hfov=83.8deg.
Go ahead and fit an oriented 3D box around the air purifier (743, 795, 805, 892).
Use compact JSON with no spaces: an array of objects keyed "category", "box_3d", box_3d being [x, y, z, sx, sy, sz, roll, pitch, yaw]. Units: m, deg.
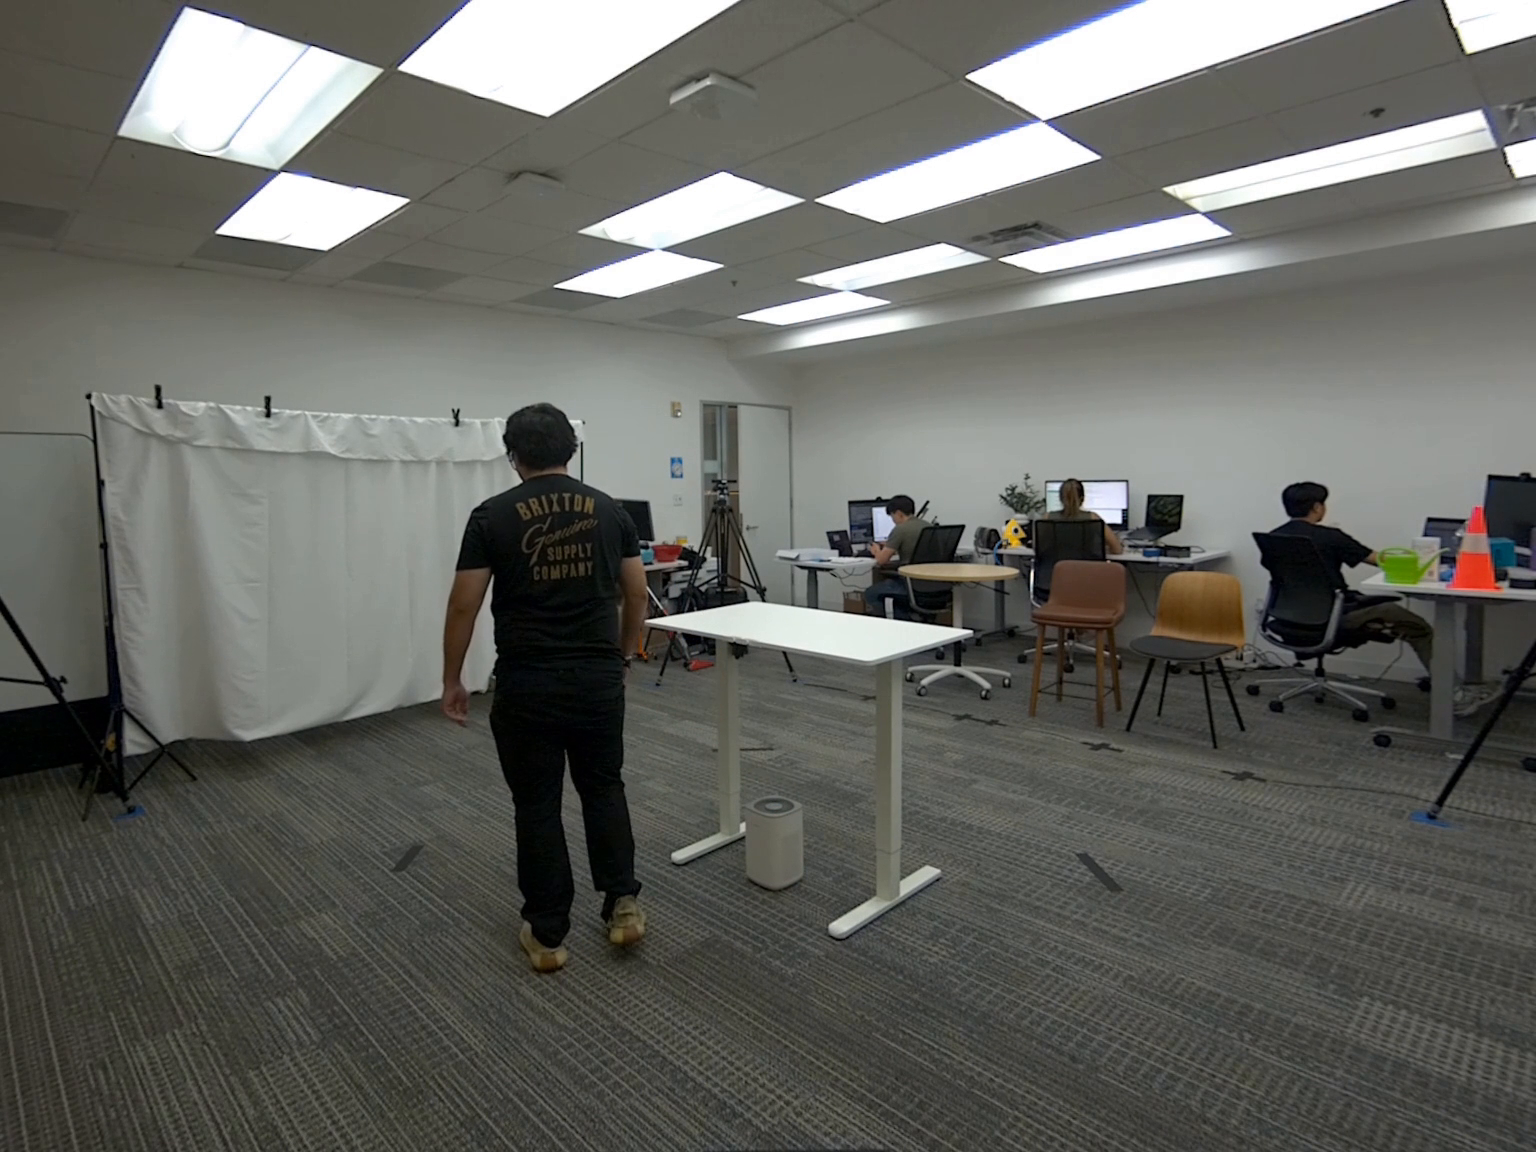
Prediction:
[{"category":"air purifier","box_3d":[0.024,0.924,2.977,0.176,0.264,0.167,4,6,45]}]
